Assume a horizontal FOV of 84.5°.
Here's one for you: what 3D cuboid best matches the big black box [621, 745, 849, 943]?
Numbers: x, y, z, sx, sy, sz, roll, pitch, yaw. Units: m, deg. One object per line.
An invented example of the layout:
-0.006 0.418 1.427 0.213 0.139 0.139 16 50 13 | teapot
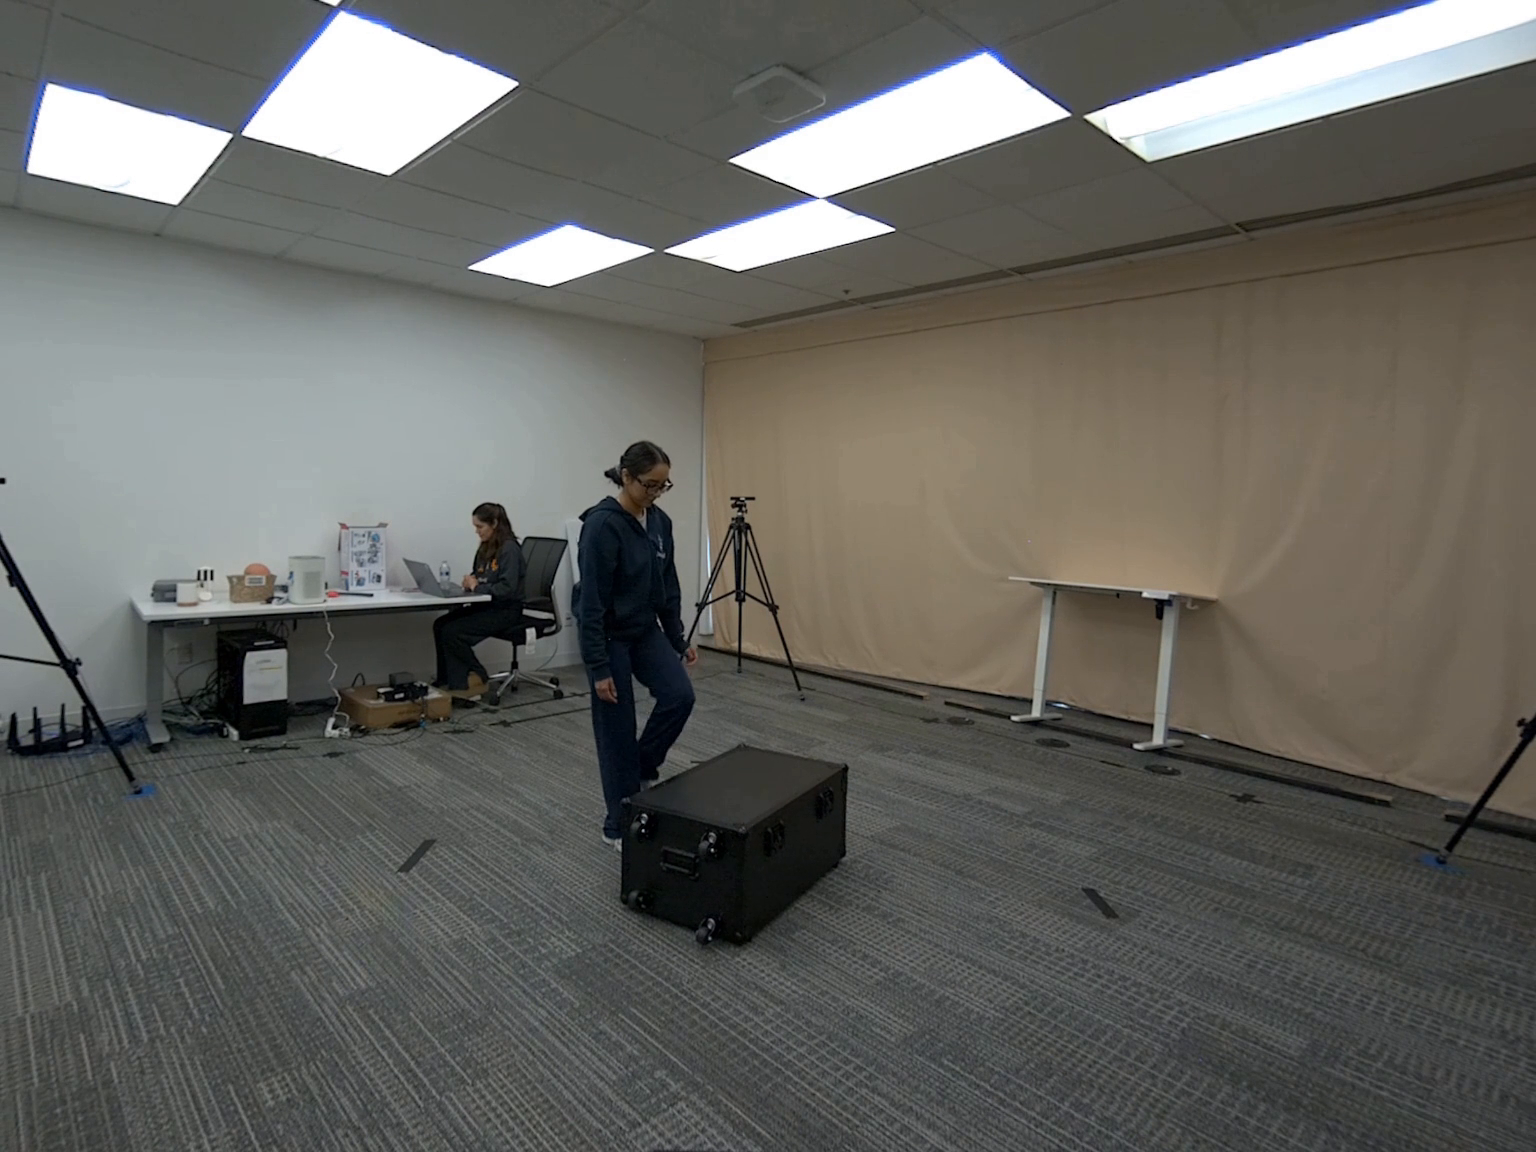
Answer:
-0.118 0.927 3.000 0.532 0.395 0.845 4 5 29 | big black box
